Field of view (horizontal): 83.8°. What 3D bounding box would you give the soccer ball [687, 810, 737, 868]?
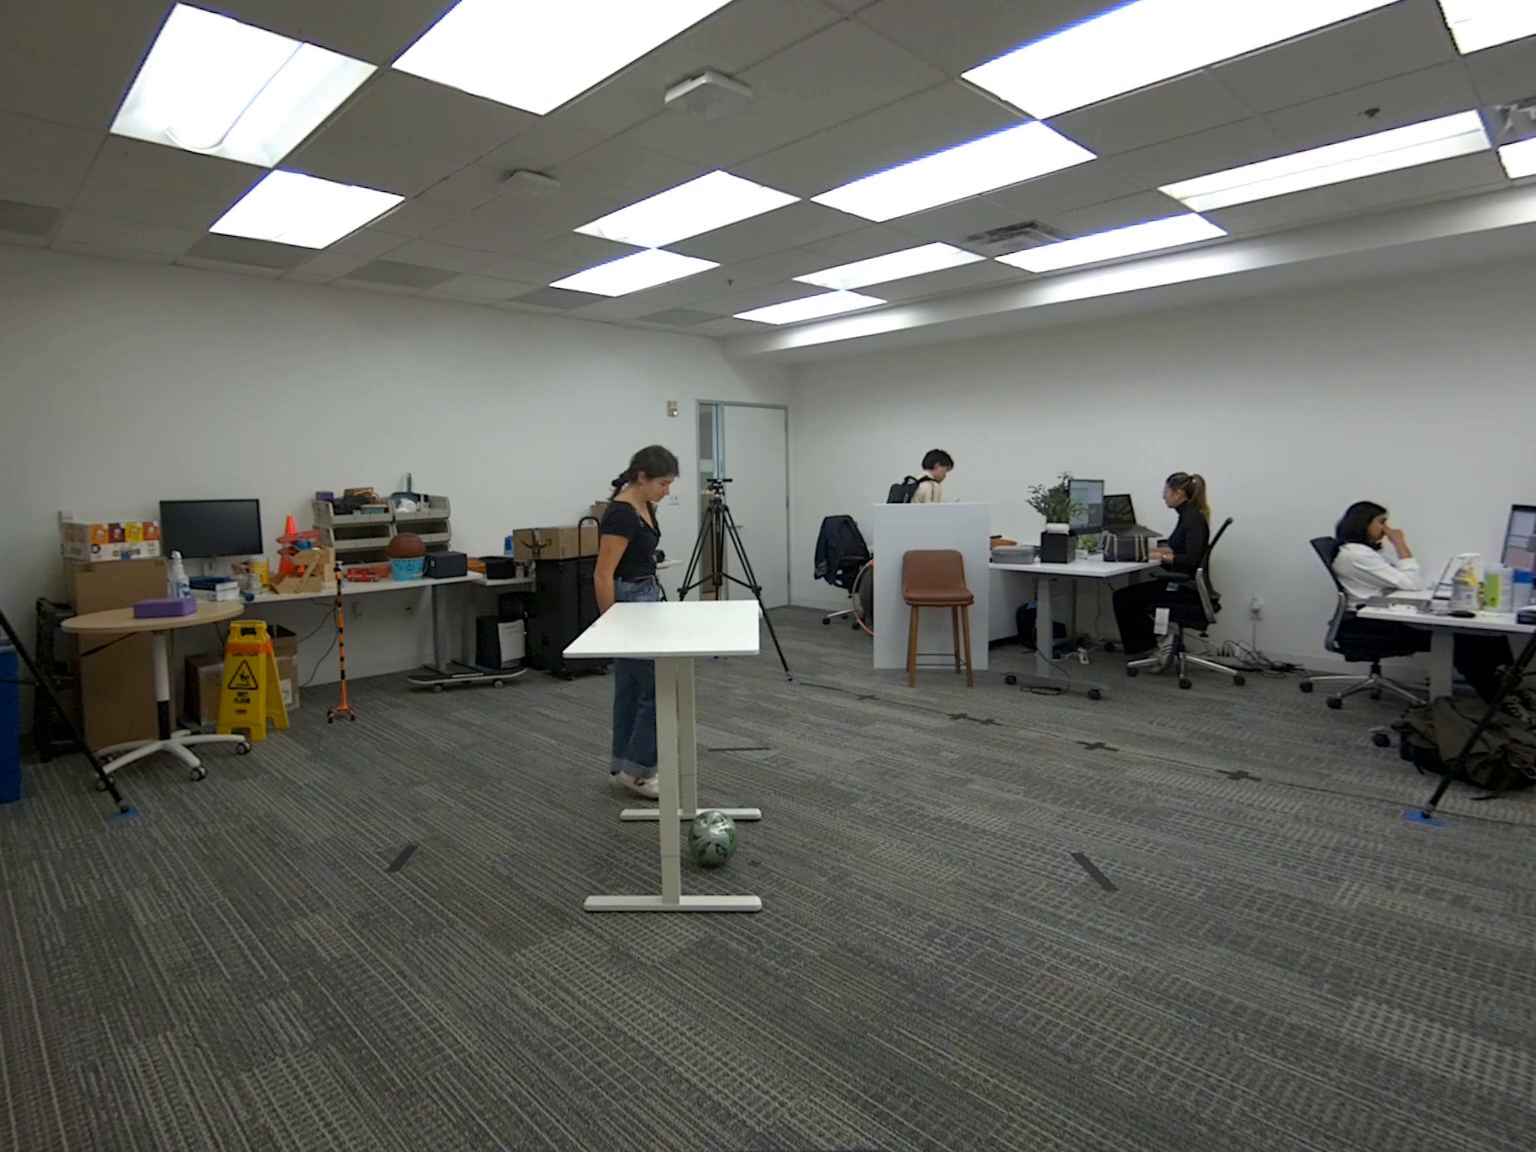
[{"bbox_3d":[-0.192,0.955,3.112,0.187,0.187,0.188,-1,5,-2],"label":"soccer ball"}]
